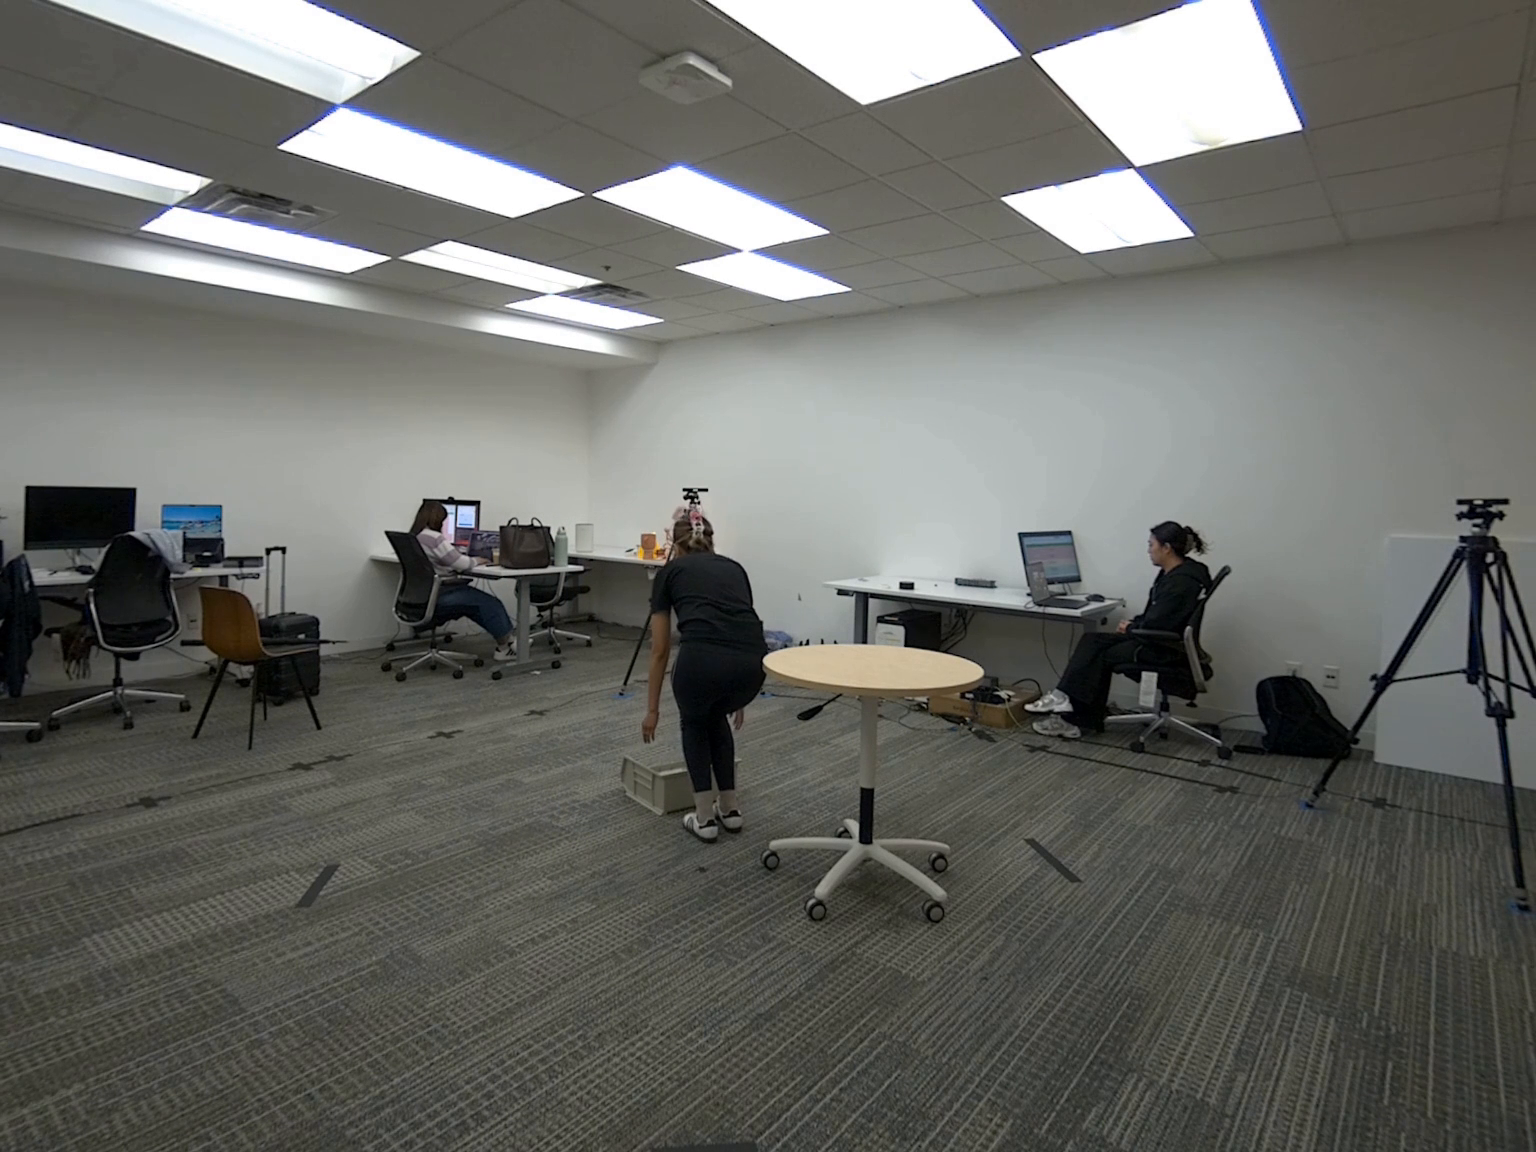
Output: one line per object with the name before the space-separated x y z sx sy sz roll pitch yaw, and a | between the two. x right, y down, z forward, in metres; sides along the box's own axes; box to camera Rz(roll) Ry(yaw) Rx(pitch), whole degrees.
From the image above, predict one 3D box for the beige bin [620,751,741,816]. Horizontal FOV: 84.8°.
beige bin | -0.412 0.904 3.864 0.410 0.188 0.390 -3 7 -36
